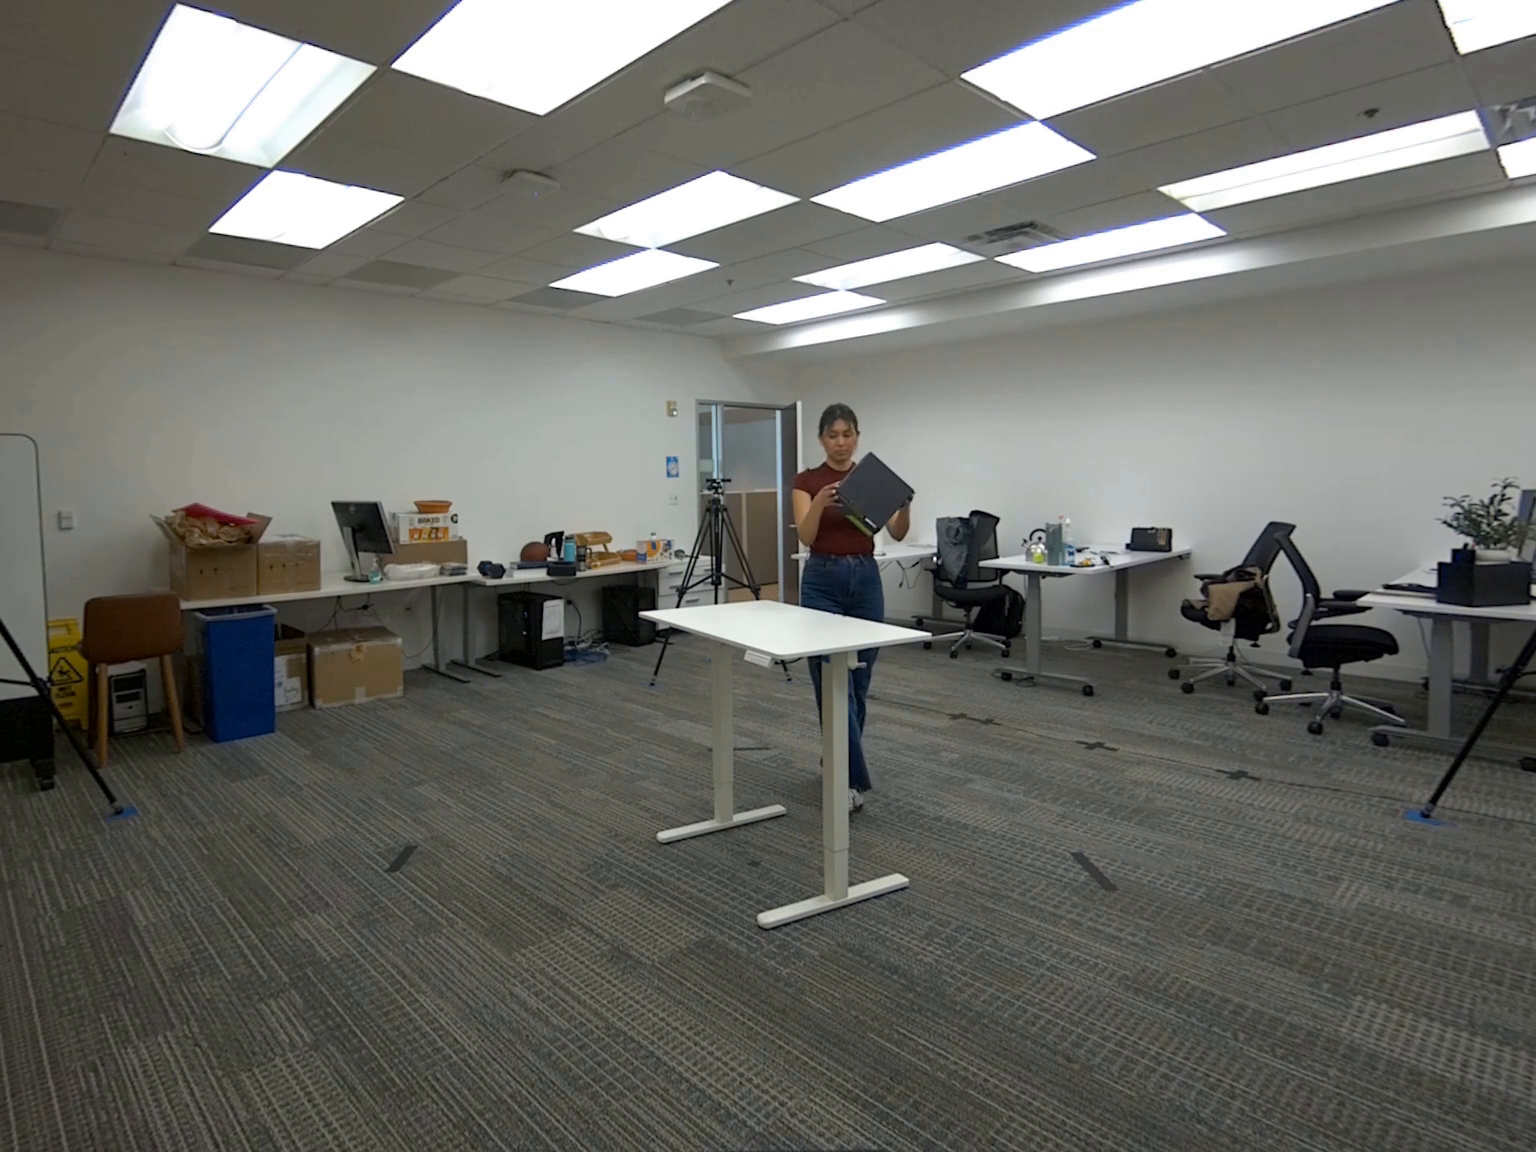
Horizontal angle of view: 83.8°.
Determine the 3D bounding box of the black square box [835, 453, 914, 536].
[{"bbox_3d":[0.386,-0.310,3.303,0.217,0.228,0.156,-47,1,-10],"label":"black square box"}]
